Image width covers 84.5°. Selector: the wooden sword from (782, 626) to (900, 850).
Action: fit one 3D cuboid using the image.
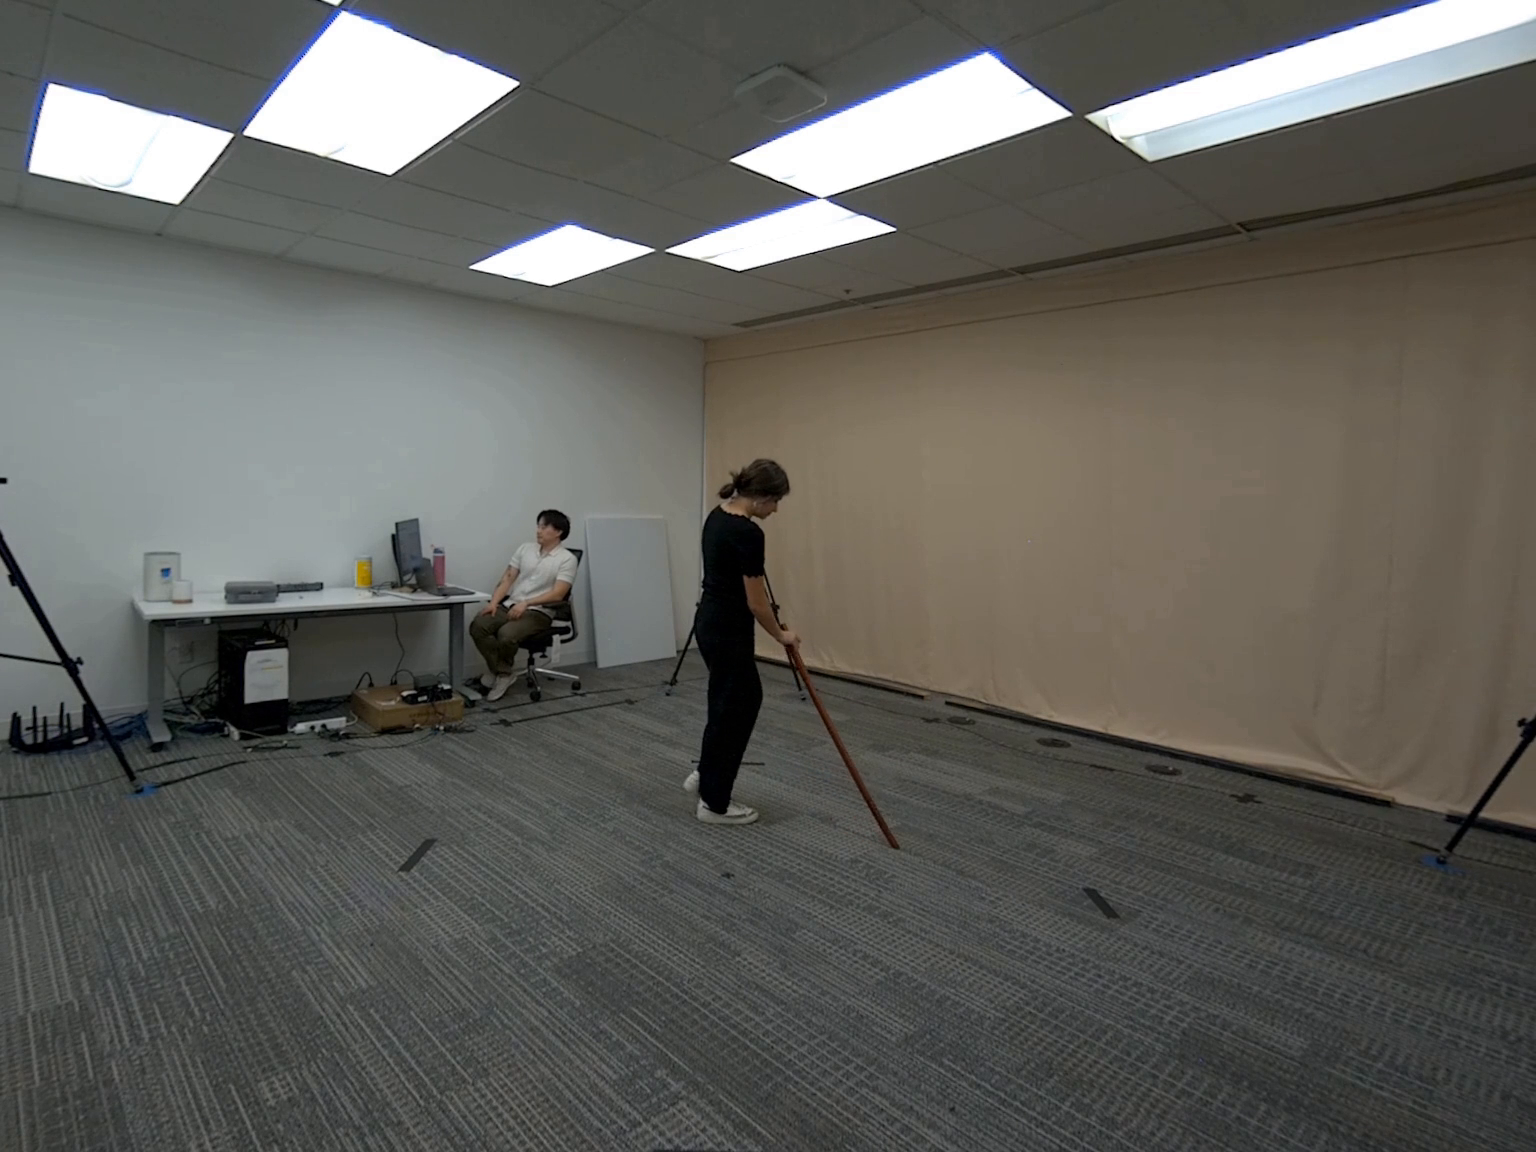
[{"bbox_3d":[0.285,0.678,3.546,0.023,1.043,0.051,-8,-27,-47],"label":"wooden sword"}]
